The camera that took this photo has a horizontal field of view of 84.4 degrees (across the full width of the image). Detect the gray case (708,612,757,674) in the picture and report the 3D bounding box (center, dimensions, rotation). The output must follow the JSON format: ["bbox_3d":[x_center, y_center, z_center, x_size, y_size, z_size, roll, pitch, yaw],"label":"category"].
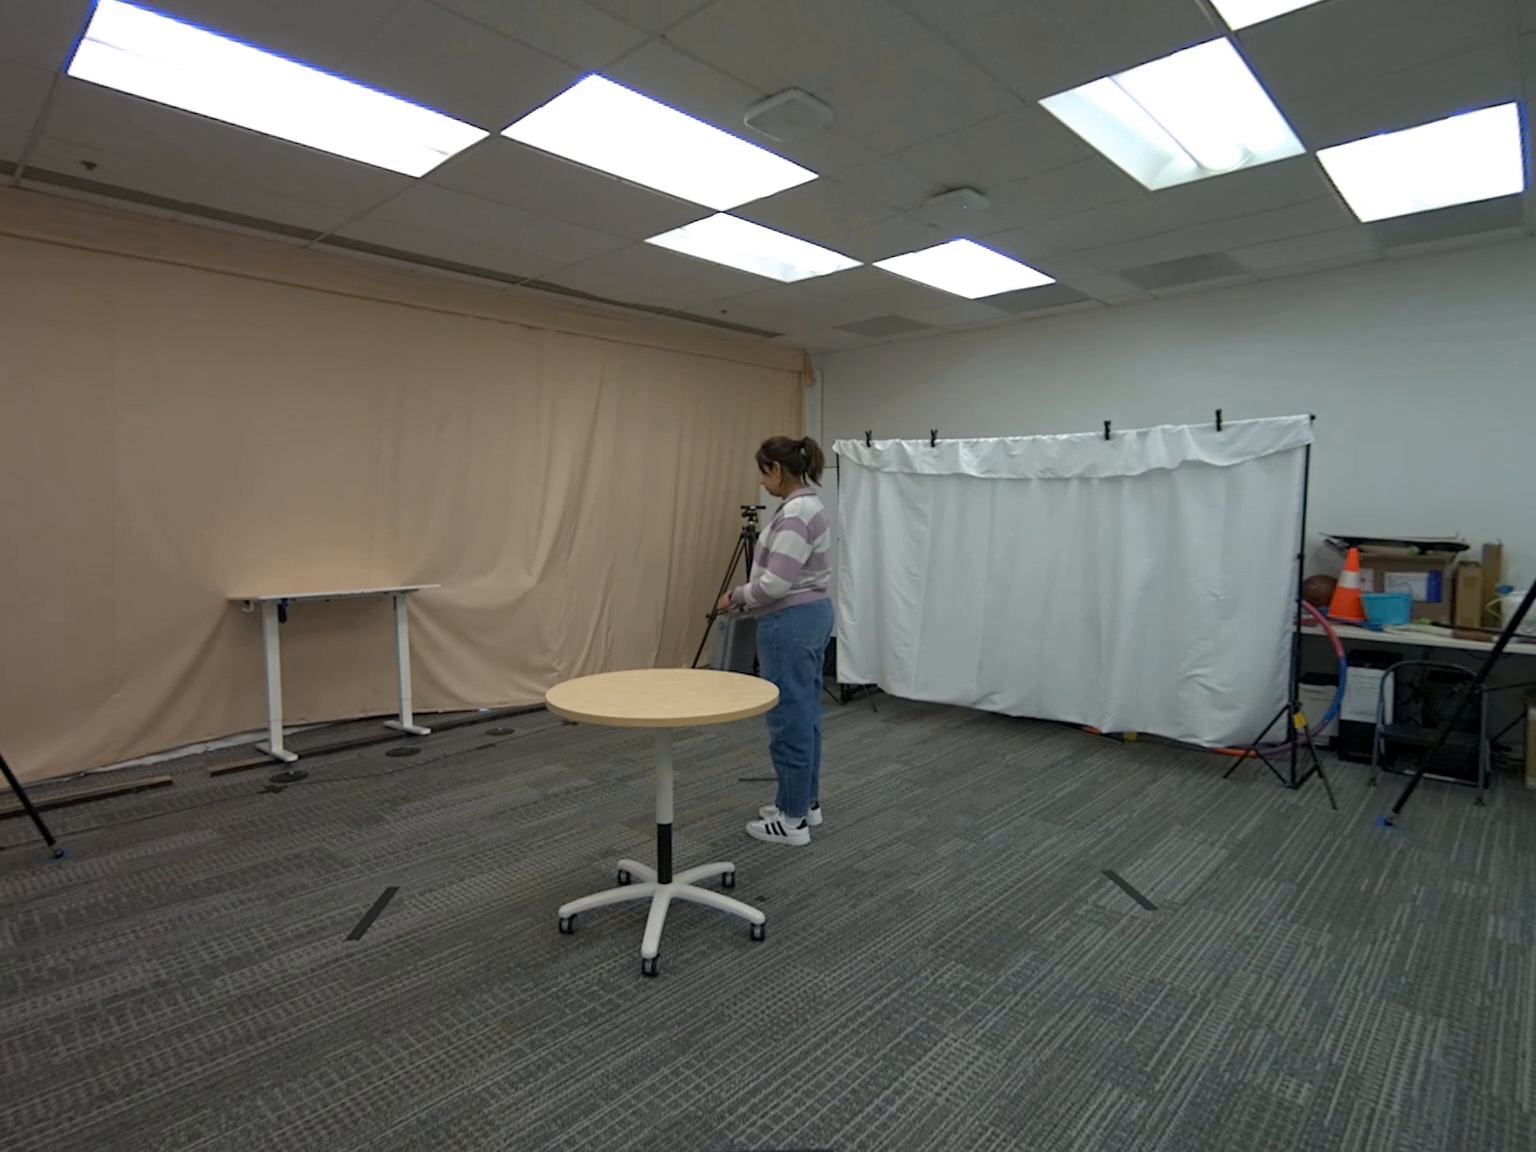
[{"bbox_3d":[-0.138,0.285,3.688,0.107,0.260,0.250,7,2,27],"label":"gray case"}]
